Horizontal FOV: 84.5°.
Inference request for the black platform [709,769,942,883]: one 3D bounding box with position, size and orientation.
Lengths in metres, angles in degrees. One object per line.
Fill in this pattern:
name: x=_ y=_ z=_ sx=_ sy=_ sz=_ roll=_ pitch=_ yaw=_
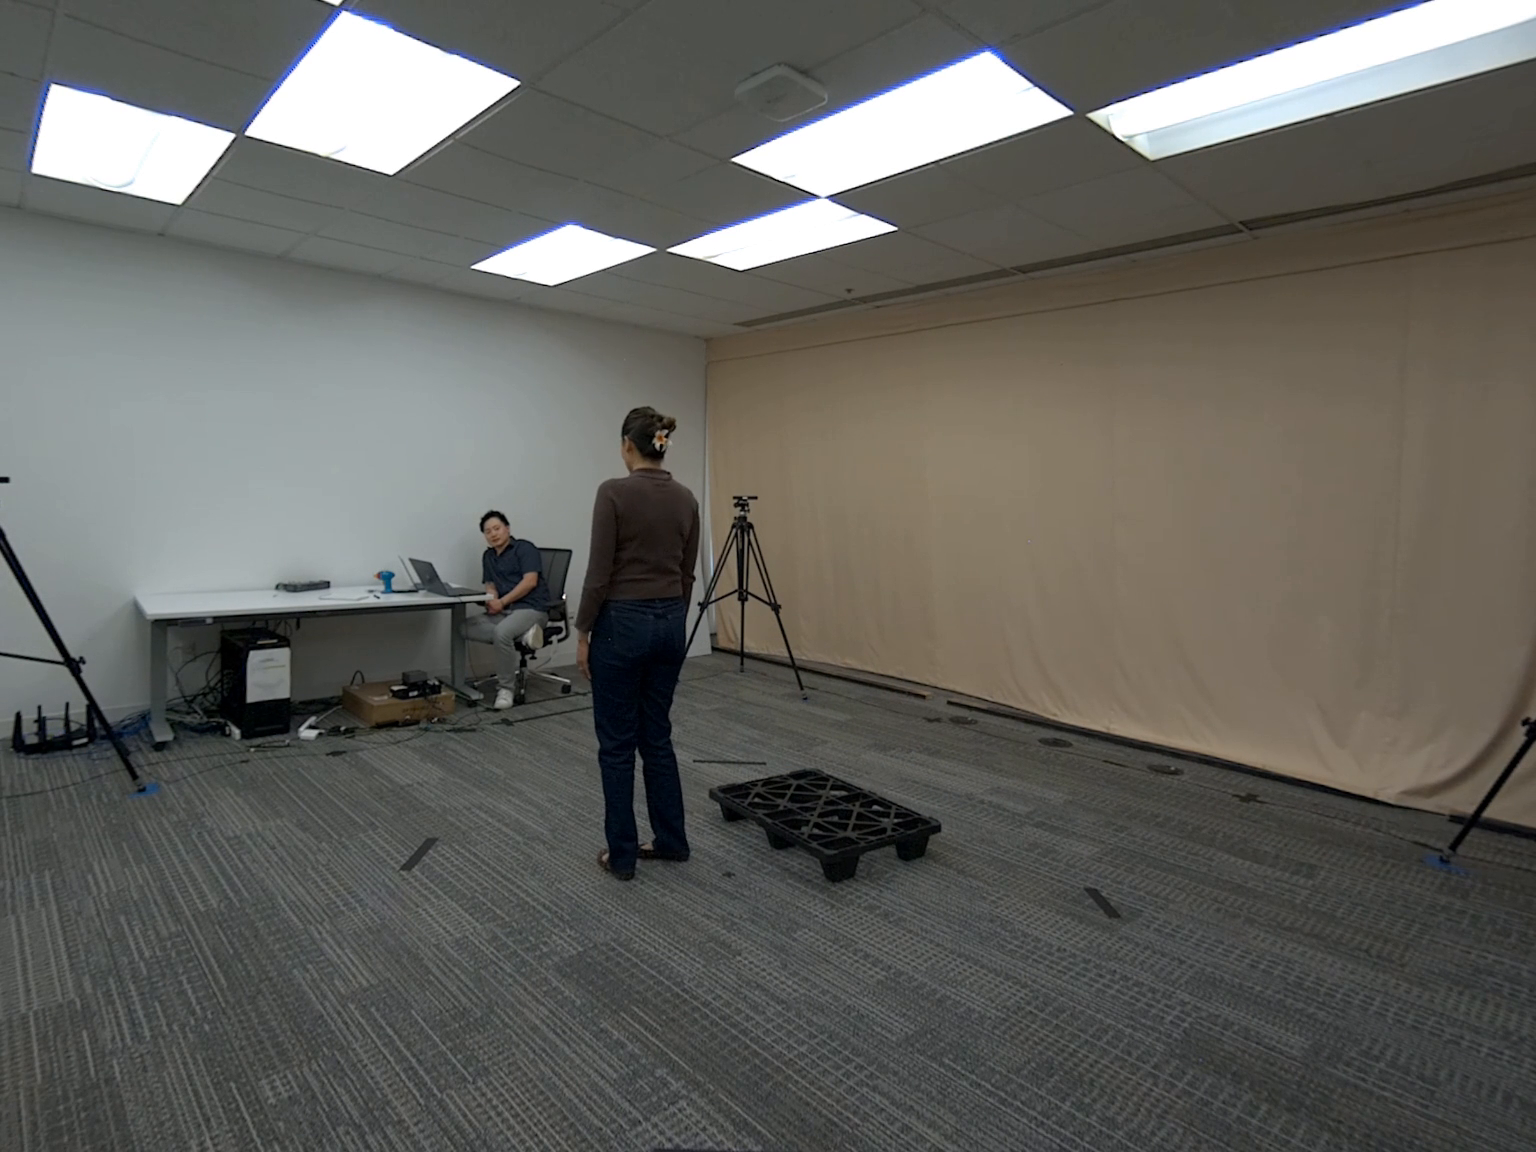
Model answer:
black platform: x=0.205 y=1.013 z=3.476 sx=0.592 sy=0.143 sz=0.825 roll=-3 pitch=6 yaw=-36
